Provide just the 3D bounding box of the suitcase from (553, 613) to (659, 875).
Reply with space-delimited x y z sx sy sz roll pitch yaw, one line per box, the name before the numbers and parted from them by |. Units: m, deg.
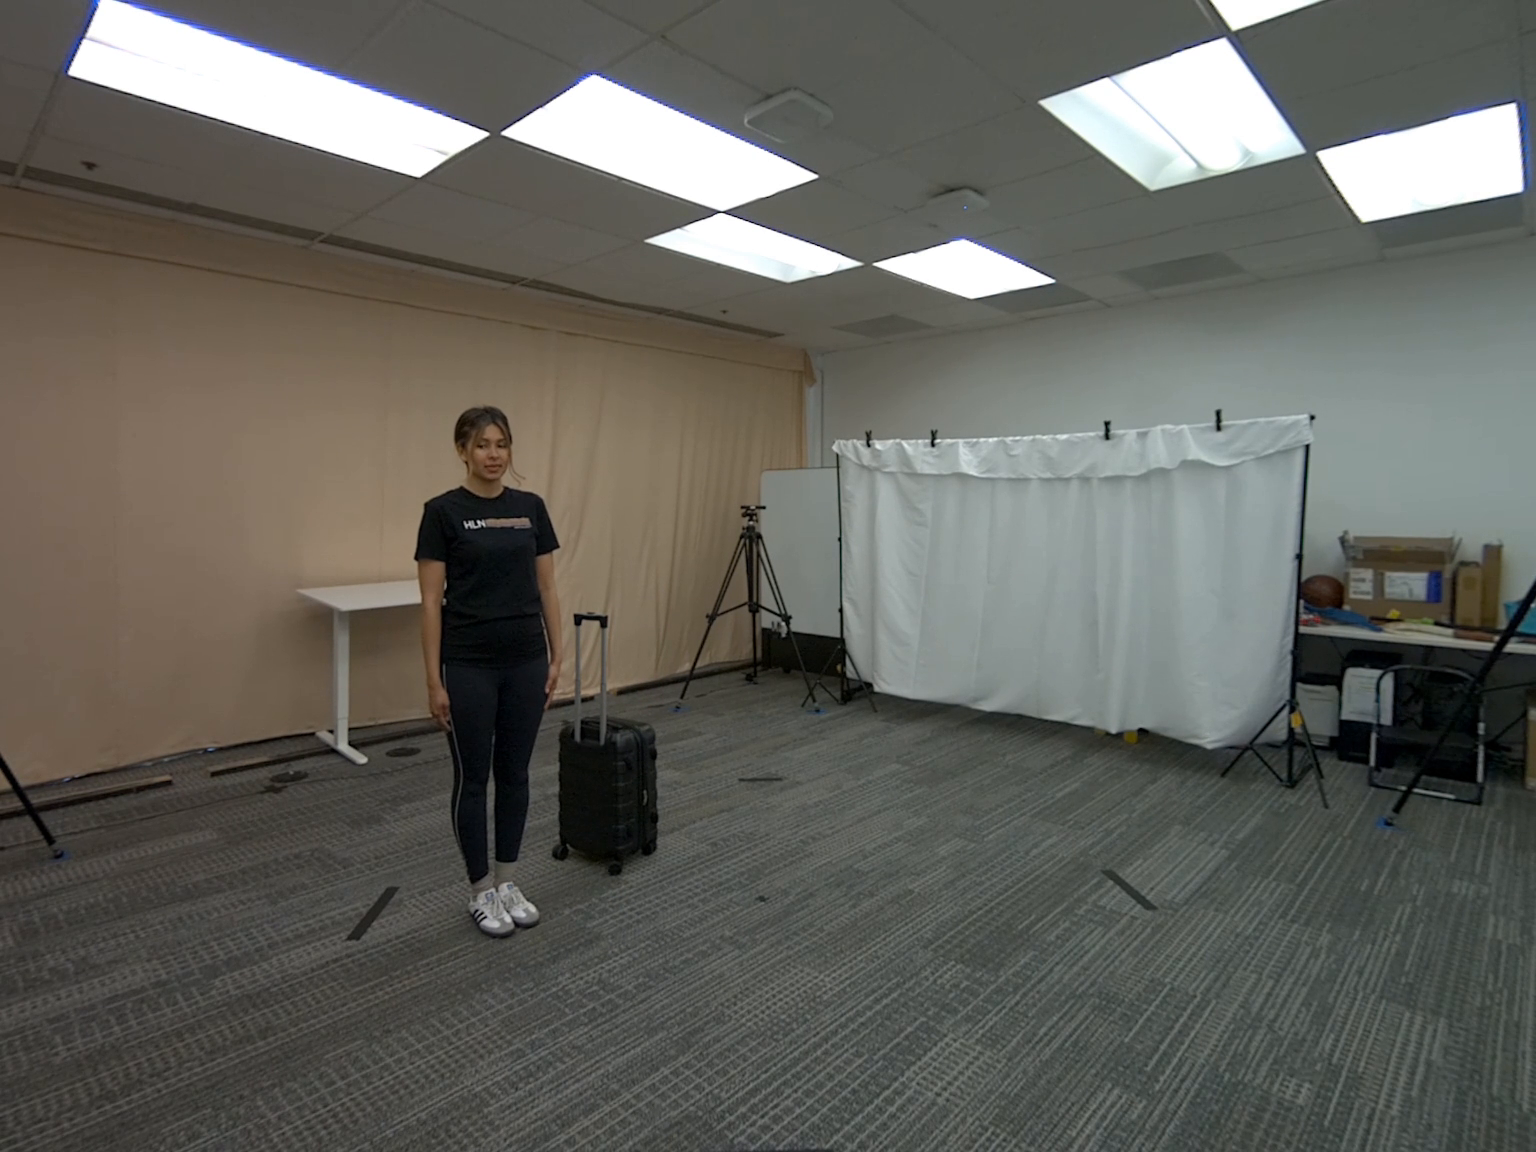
suitcase | -0.643 0.639 3.355 0.395 0.978 0.250 1 1 30
